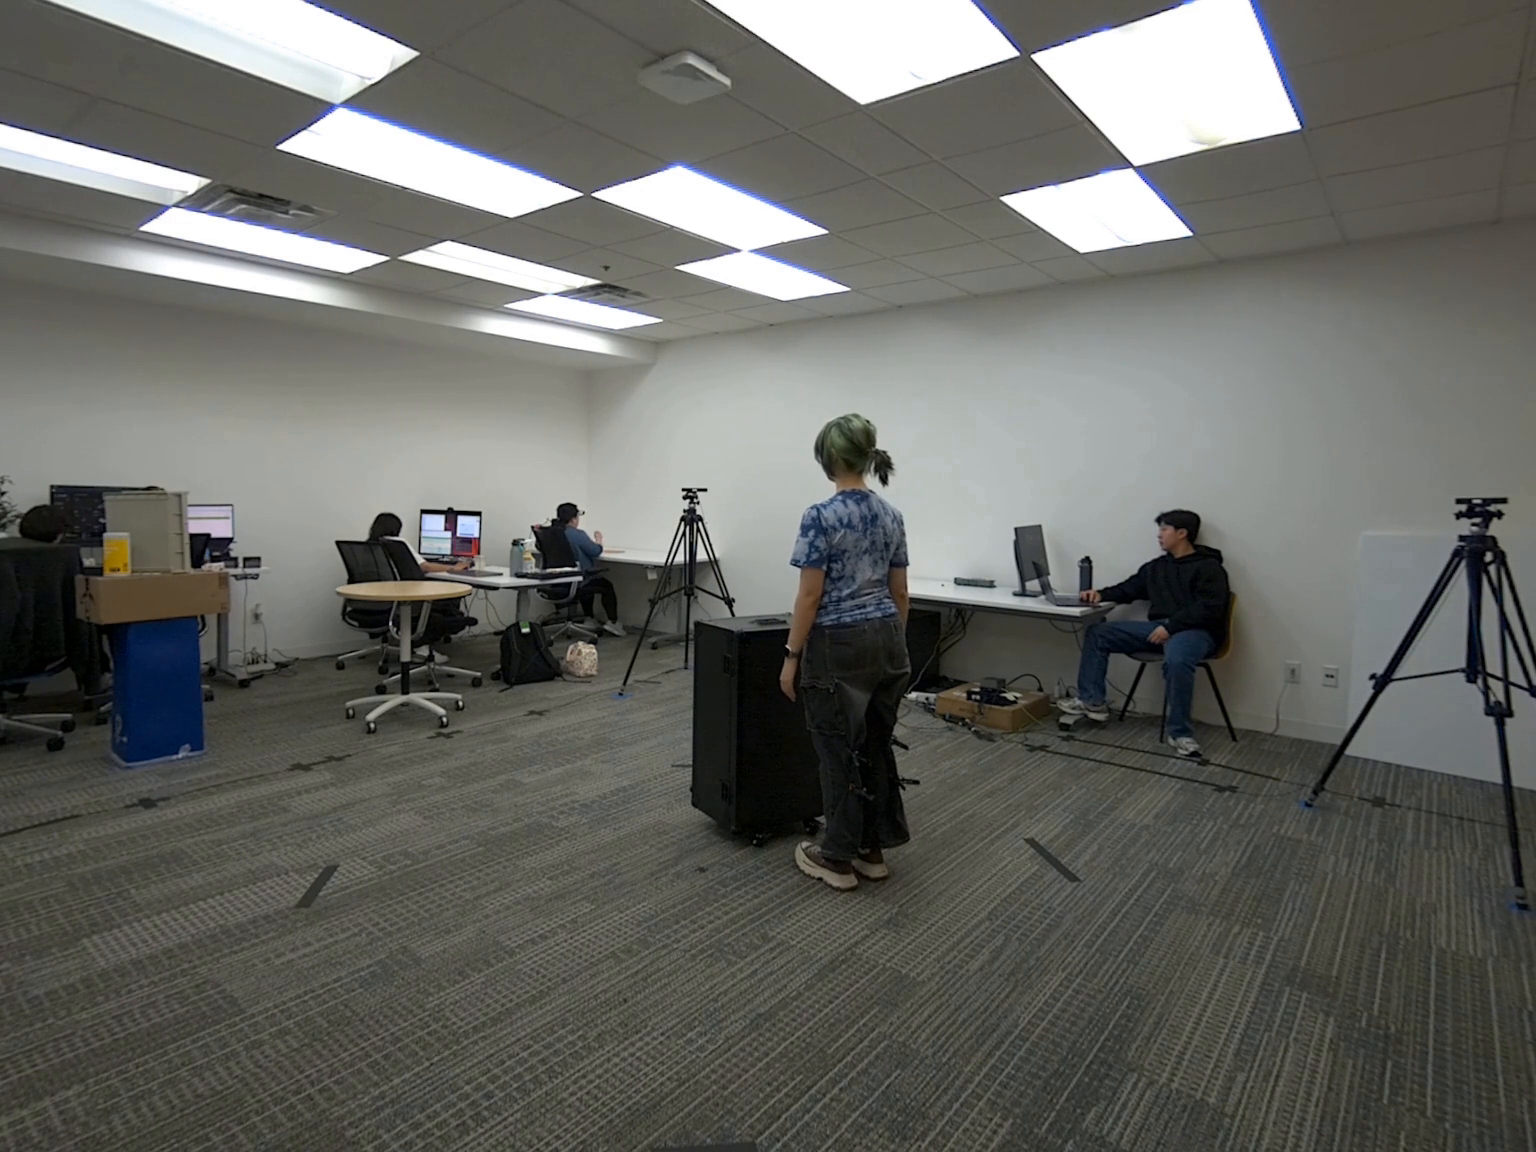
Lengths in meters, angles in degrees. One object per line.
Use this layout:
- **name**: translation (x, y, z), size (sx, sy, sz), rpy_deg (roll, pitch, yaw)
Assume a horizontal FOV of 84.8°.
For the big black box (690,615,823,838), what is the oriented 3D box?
- **big black box**: translation (-0.028, 0.552, 3.512), size (0.507, 0.859, 0.408), rpy_deg (-1, 3, -32)
